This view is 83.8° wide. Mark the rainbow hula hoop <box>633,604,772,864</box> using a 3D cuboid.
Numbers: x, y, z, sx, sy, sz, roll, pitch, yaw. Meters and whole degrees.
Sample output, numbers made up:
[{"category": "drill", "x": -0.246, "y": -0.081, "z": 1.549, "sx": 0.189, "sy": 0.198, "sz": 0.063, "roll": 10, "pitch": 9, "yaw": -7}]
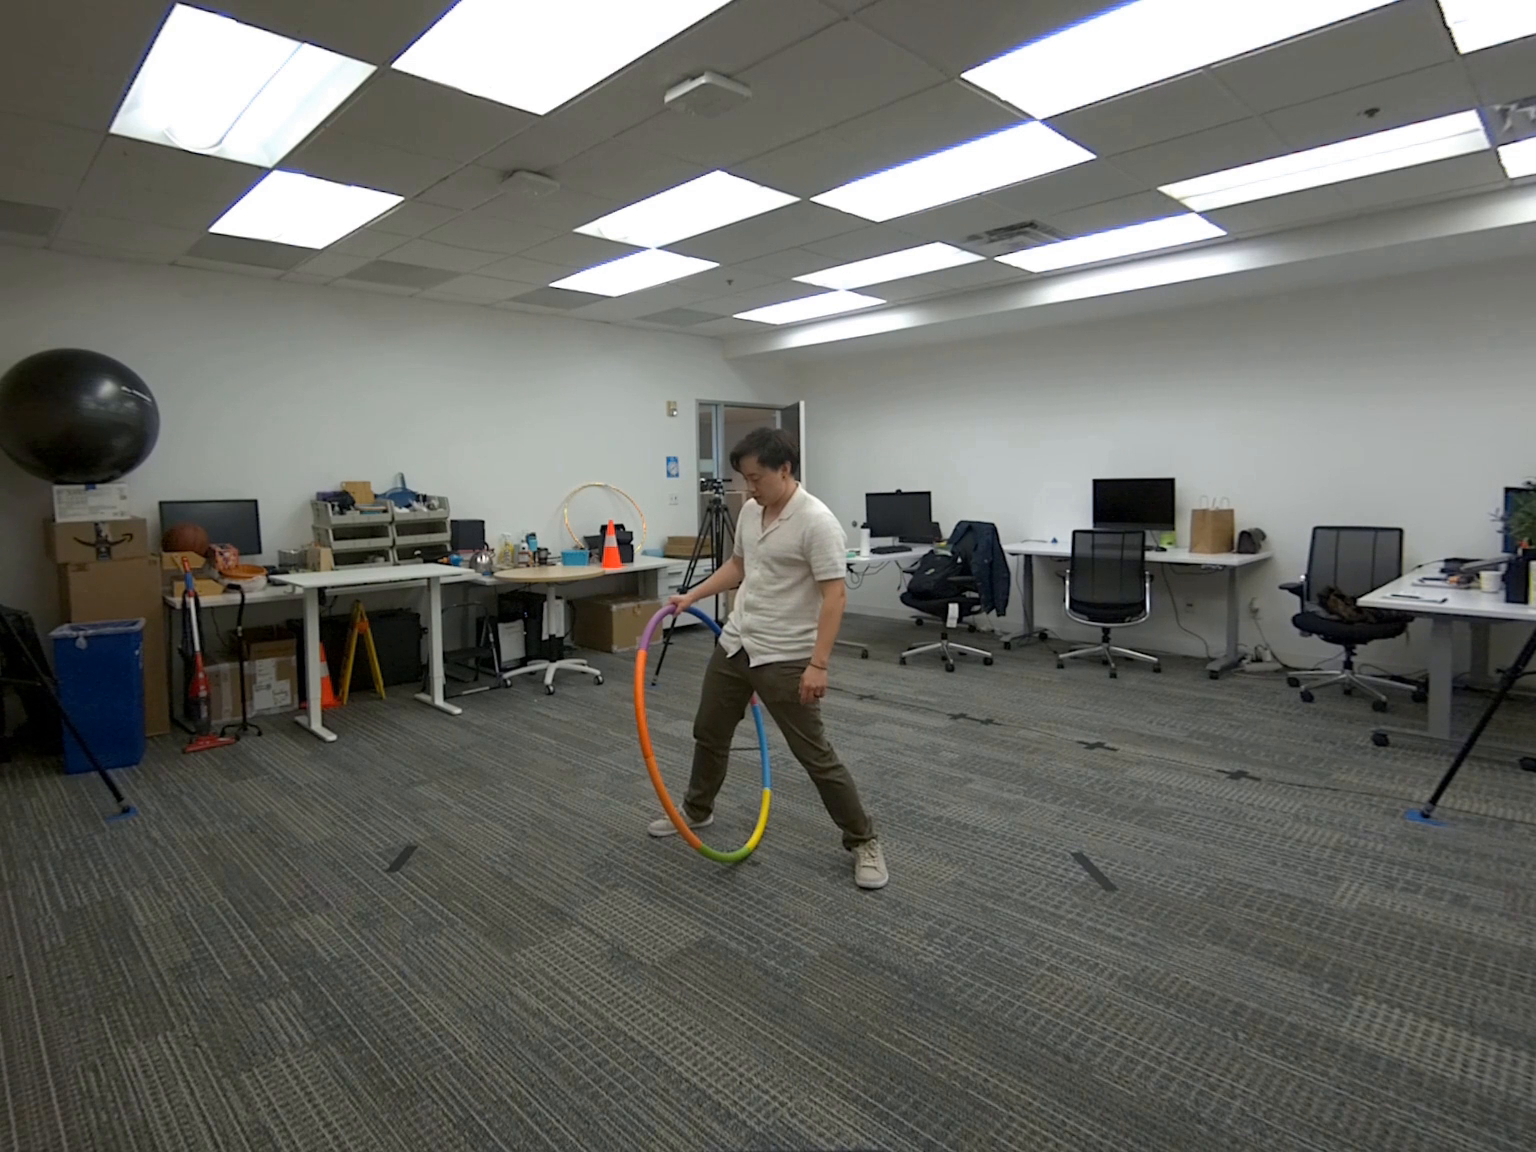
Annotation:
[{"category": "rainbow hula hoop", "x": -0.218, "y": 0.570, "z": 3.242, "sx": 0.036, "sy": 0.983, "sz": 0.964, "roll": -21, "pitch": -3, "yaw": 19}]
